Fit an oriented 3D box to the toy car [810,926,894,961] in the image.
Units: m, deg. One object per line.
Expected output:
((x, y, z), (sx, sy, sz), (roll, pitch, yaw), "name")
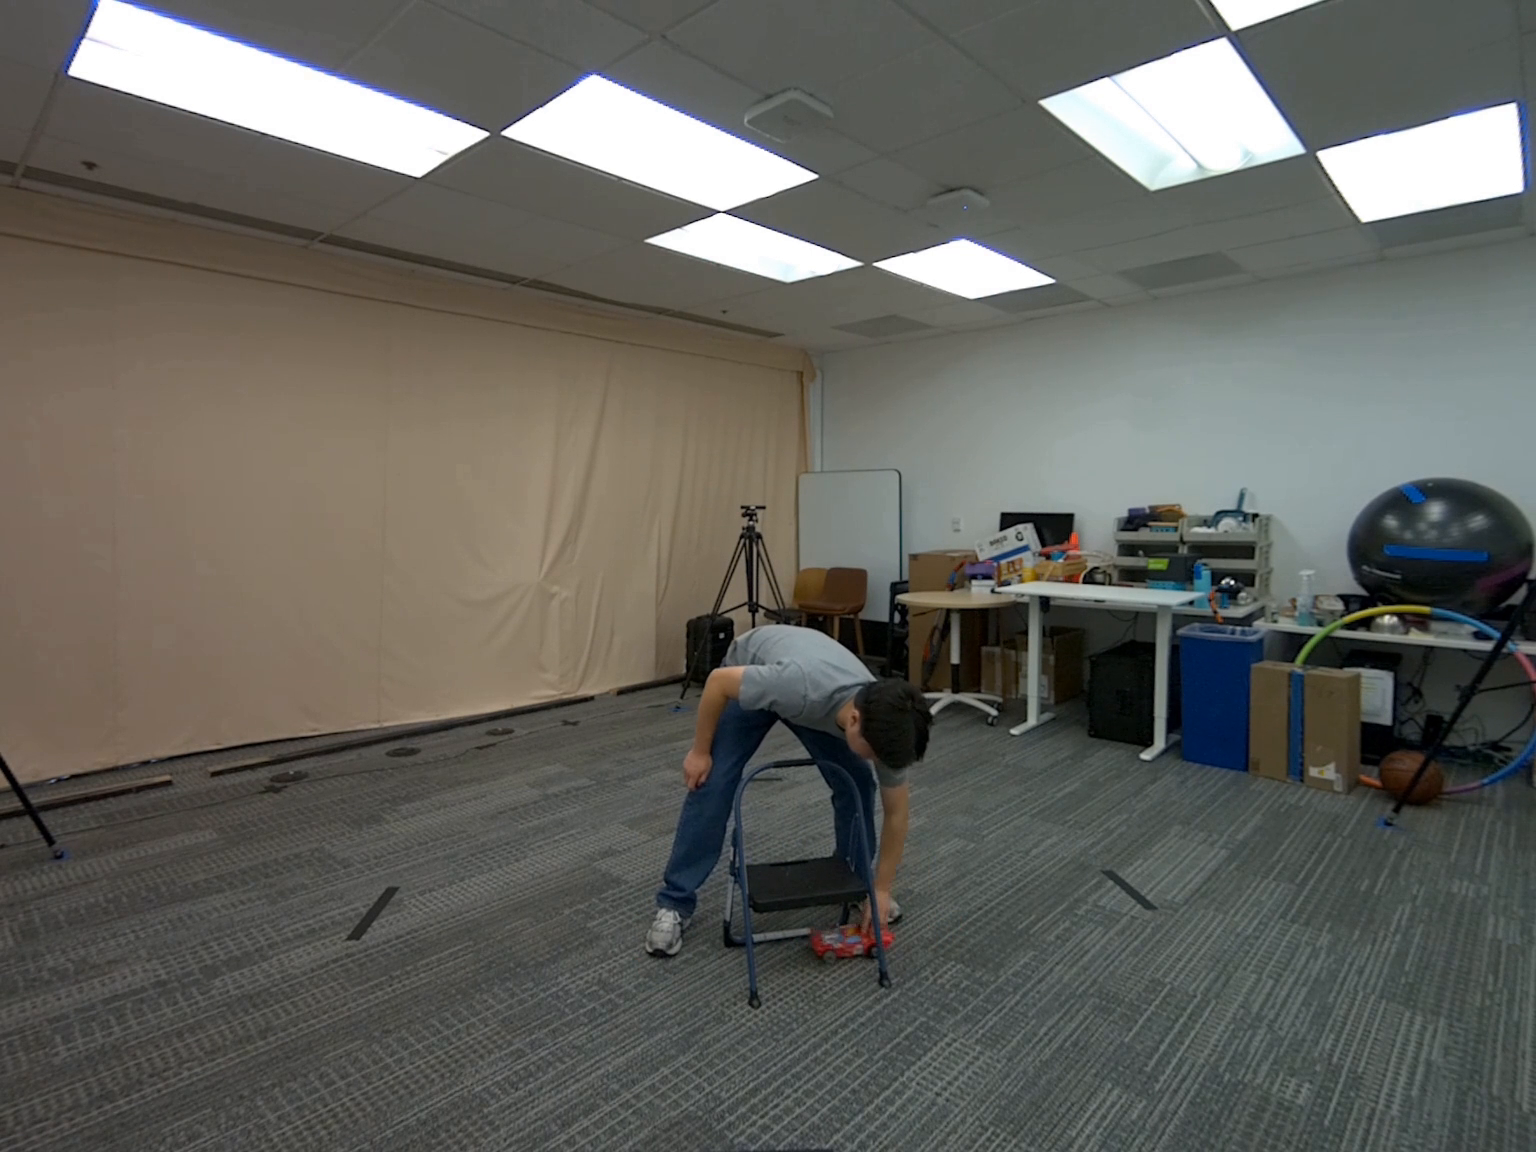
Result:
((0.273, 1.144, 2.626), (0.251, 0.083, 0.132), (-12, 8, -13), "toy car")
